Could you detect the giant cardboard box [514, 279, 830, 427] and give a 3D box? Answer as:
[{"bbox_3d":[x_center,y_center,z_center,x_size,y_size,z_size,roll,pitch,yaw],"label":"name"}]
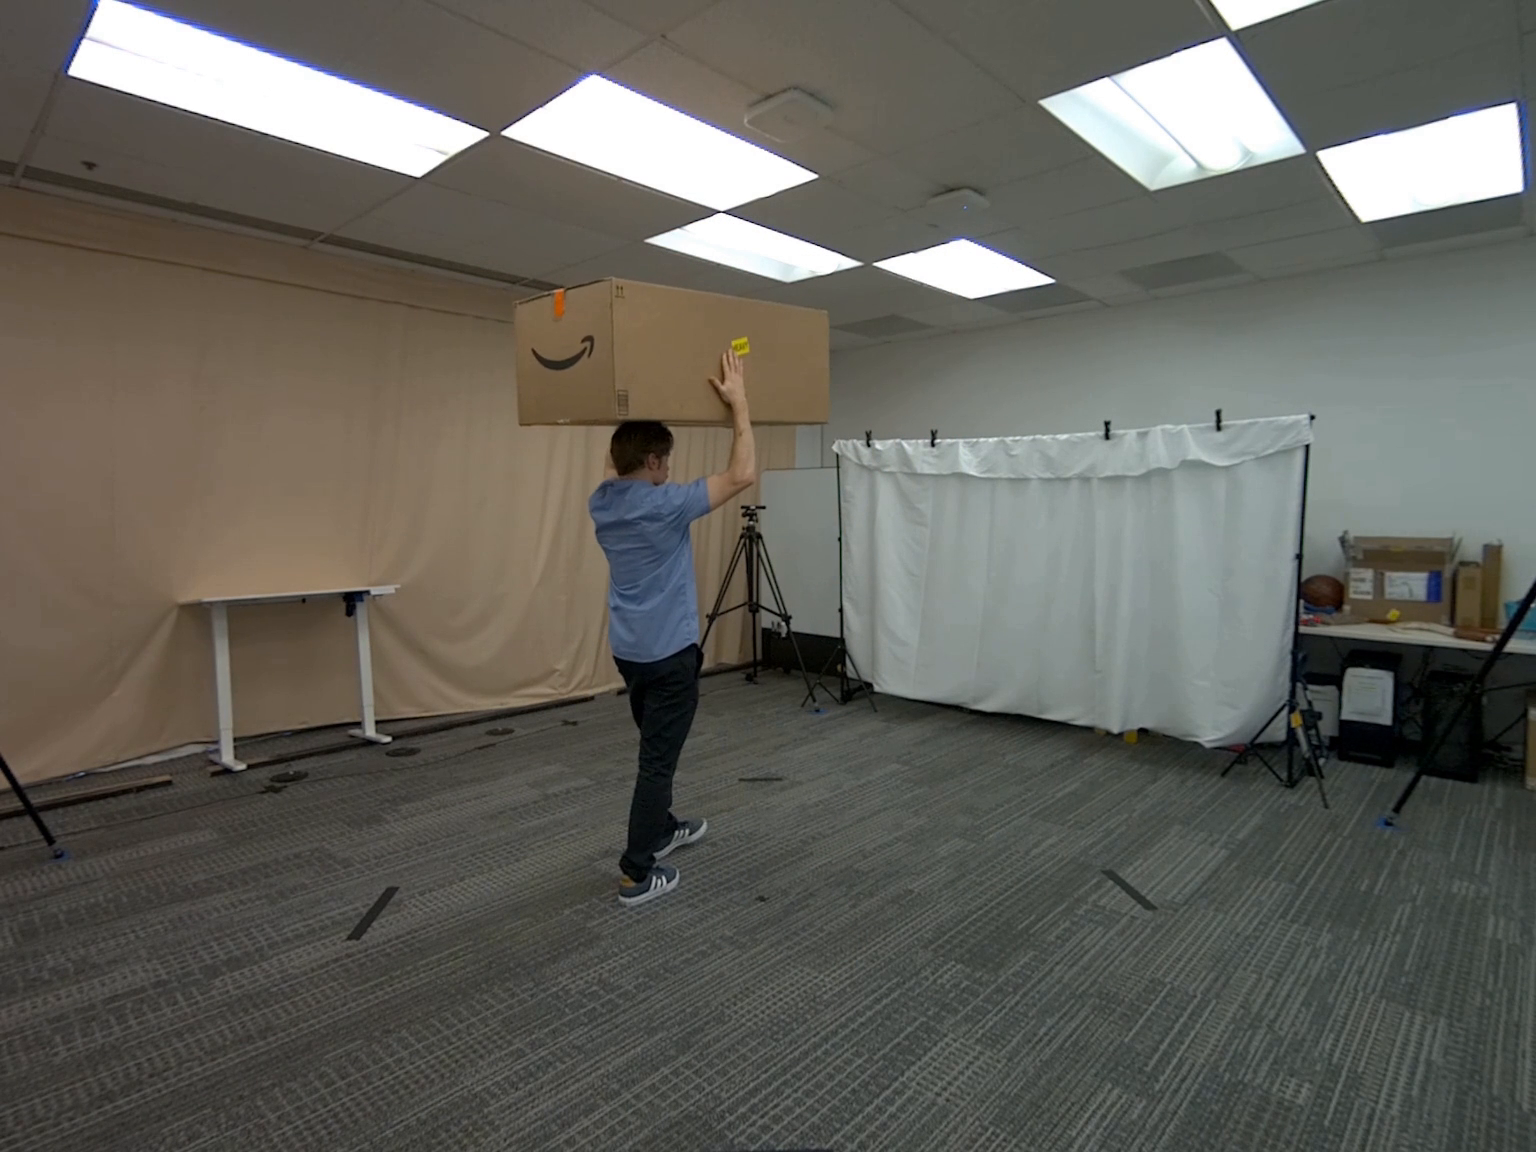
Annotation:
[{"bbox_3d":[-0.321,-0.766,3.080,0.597,0.424,0.996,7,11,45],"label":"giant cardboard box"}]
